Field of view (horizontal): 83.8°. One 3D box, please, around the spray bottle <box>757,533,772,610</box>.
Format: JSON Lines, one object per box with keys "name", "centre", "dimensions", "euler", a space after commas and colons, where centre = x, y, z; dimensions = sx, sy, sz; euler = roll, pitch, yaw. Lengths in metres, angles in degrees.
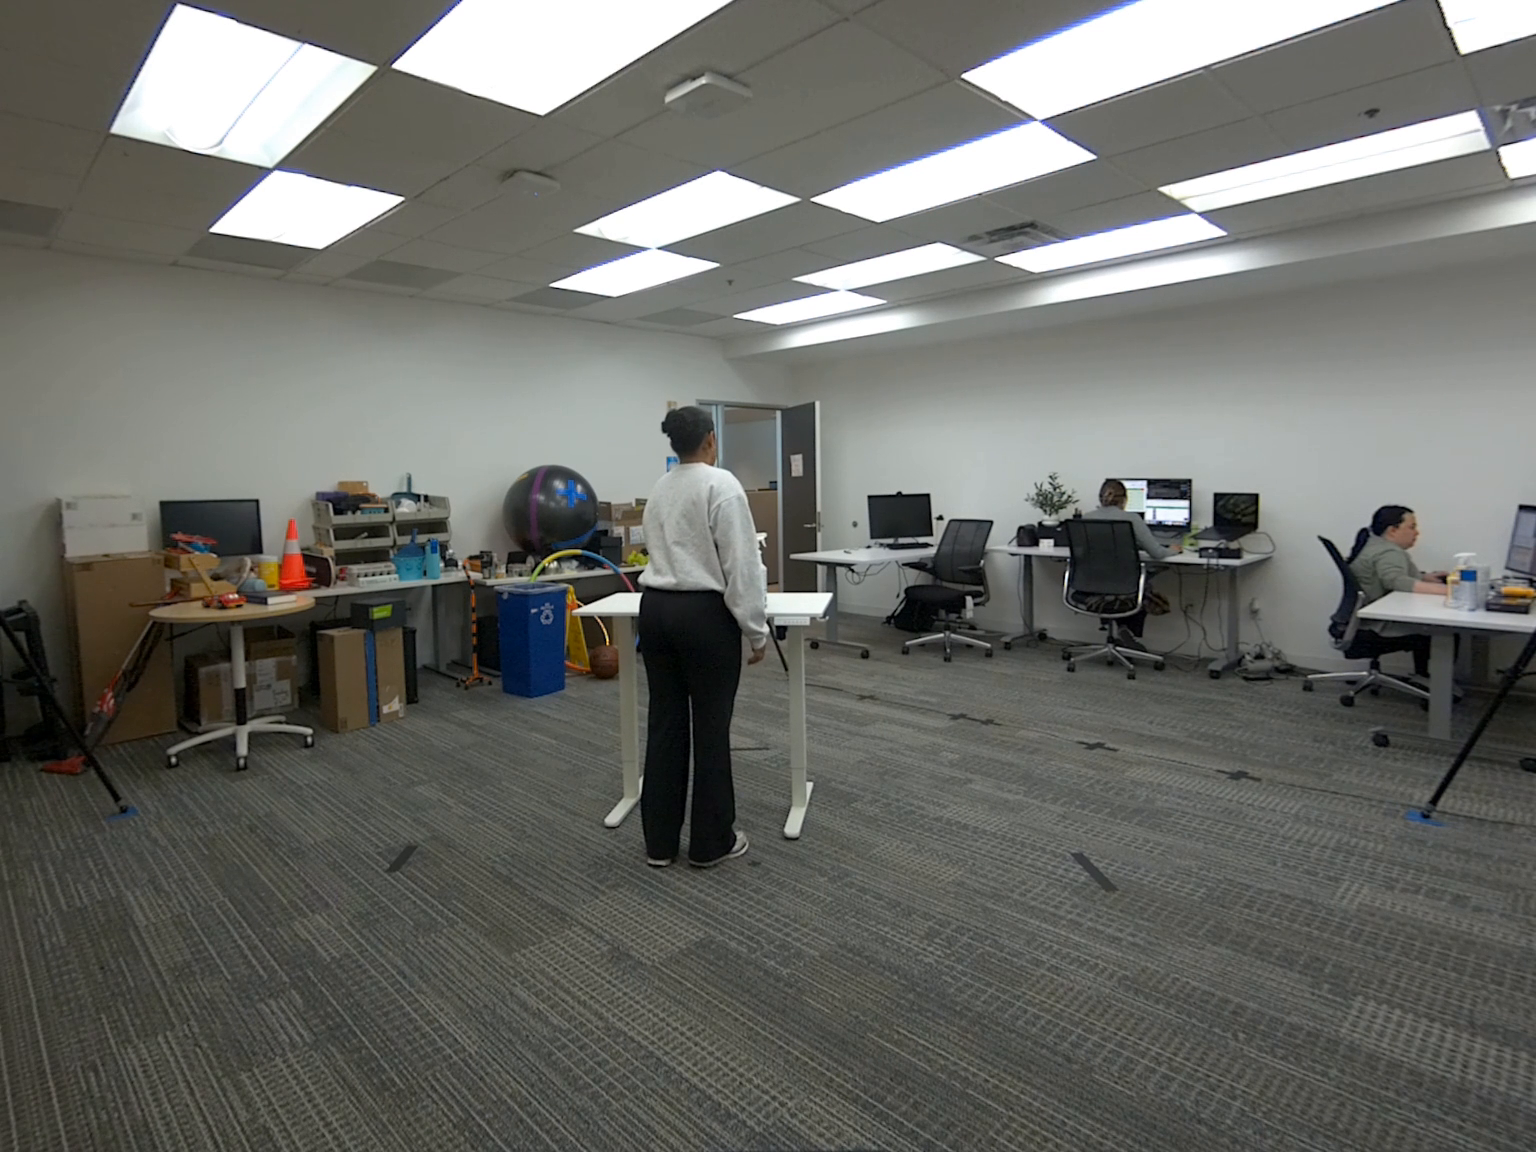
{"name": "spray bottle", "centre": [-0.041, -0.021, 3.407], "dimensions": [0.090, 0.297, 0.087], "euler": [-1, 0, -2]}
